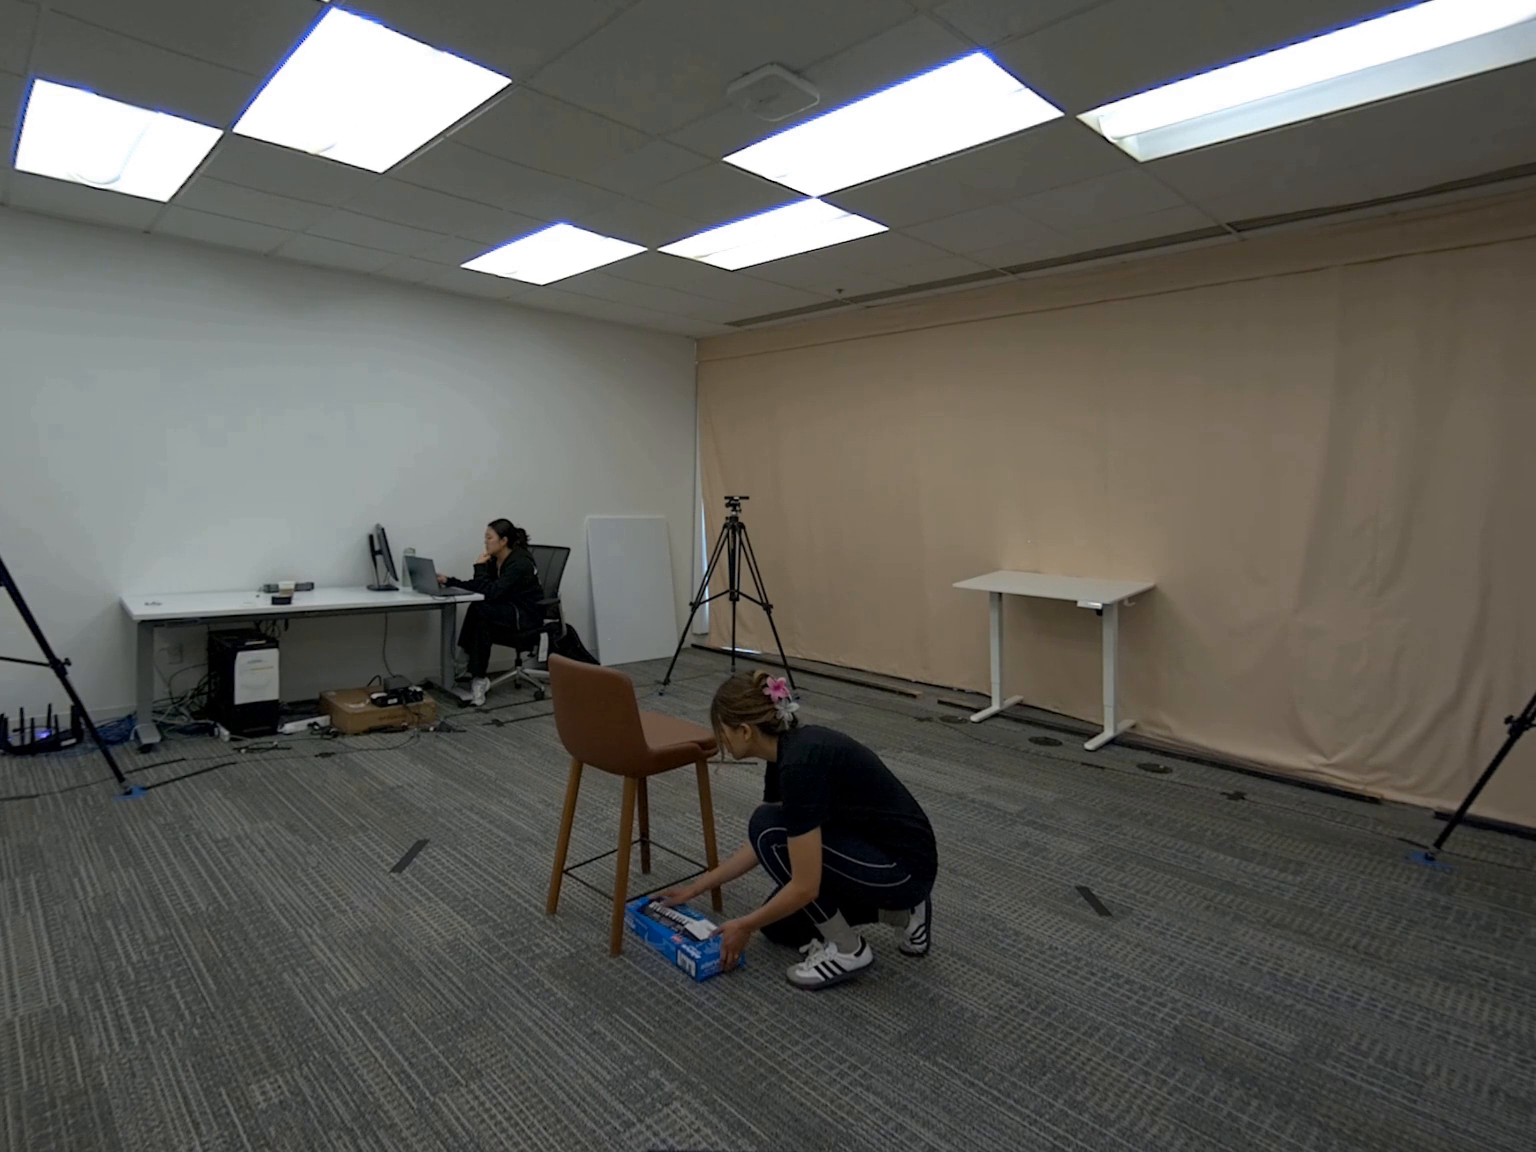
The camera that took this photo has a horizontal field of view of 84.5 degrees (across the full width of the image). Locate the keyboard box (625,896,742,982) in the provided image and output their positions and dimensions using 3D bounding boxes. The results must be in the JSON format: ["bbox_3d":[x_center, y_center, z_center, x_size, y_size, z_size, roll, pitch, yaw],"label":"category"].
[{"bbox_3d":[-0.273,1.110,2.627,0.172,0.059,0.447,-2,5,-37],"label":"keyboard box"}]
